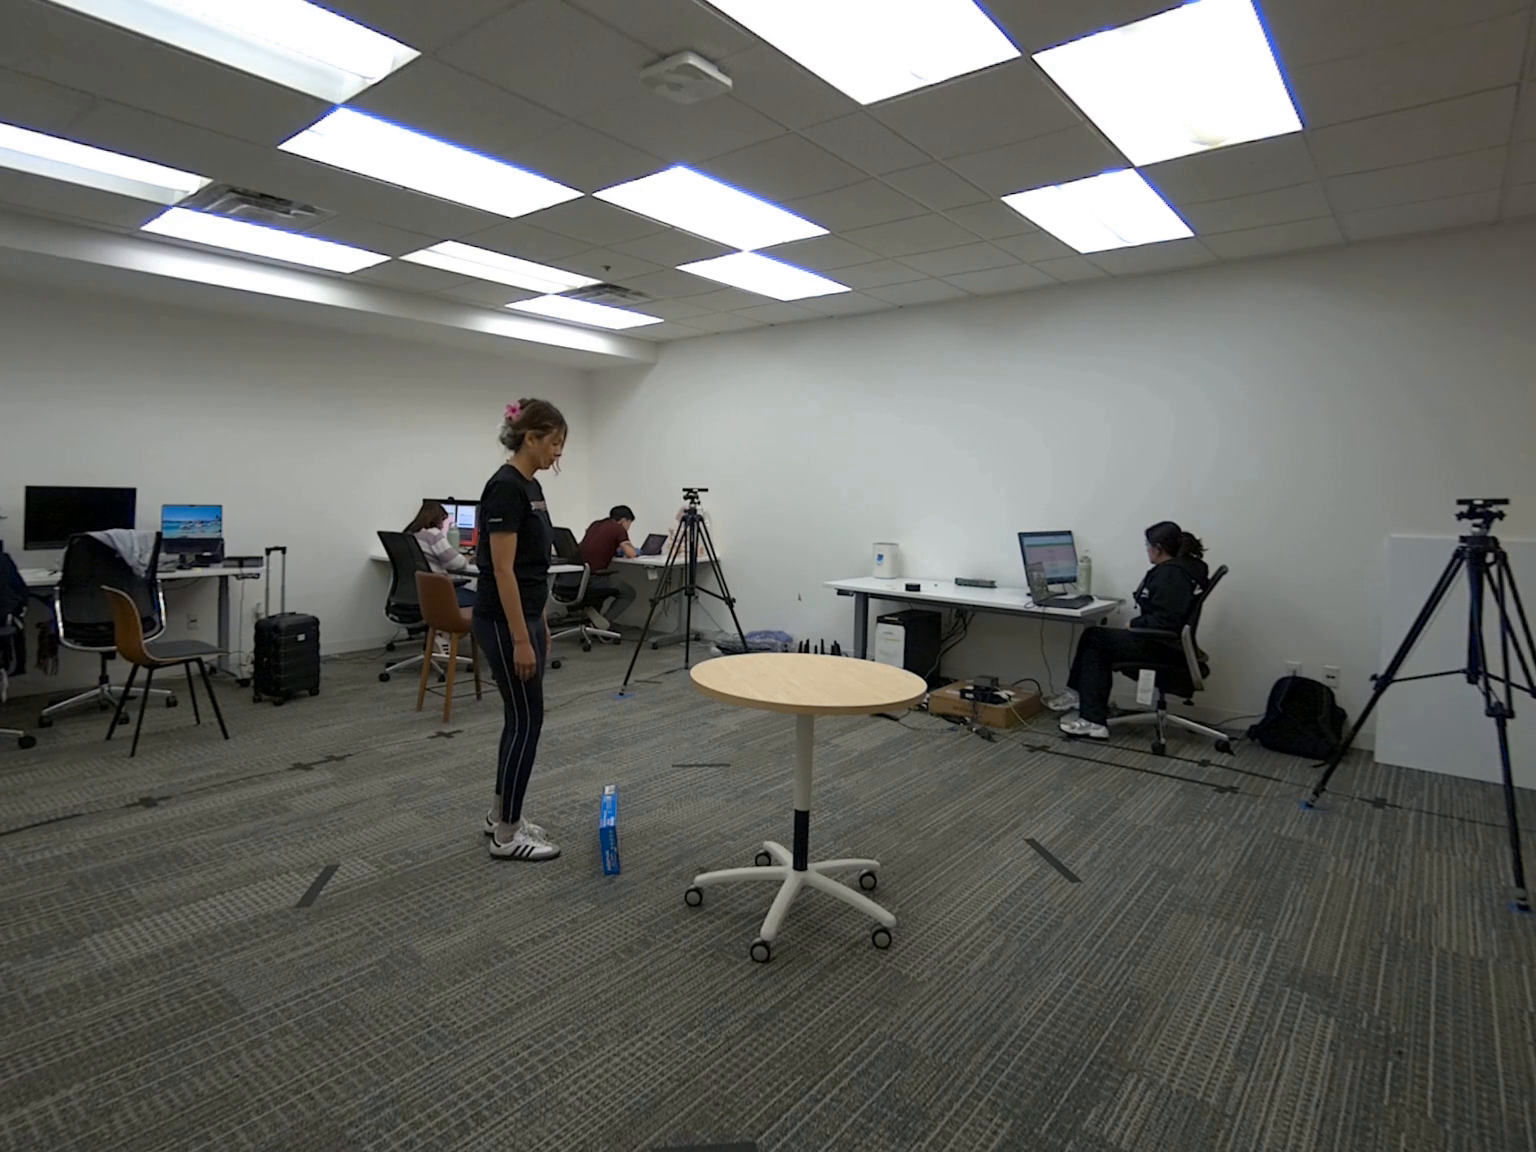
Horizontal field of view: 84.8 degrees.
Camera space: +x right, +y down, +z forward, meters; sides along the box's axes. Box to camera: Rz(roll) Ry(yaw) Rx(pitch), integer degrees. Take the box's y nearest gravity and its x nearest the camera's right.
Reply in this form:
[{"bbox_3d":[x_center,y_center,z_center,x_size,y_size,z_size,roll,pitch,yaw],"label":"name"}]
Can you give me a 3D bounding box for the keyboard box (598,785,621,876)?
[{"bbox_3d":[-0.612,0.961,3.267,0.058,0.175,0.442,-5,6,-9],"label":"keyboard box"}]
